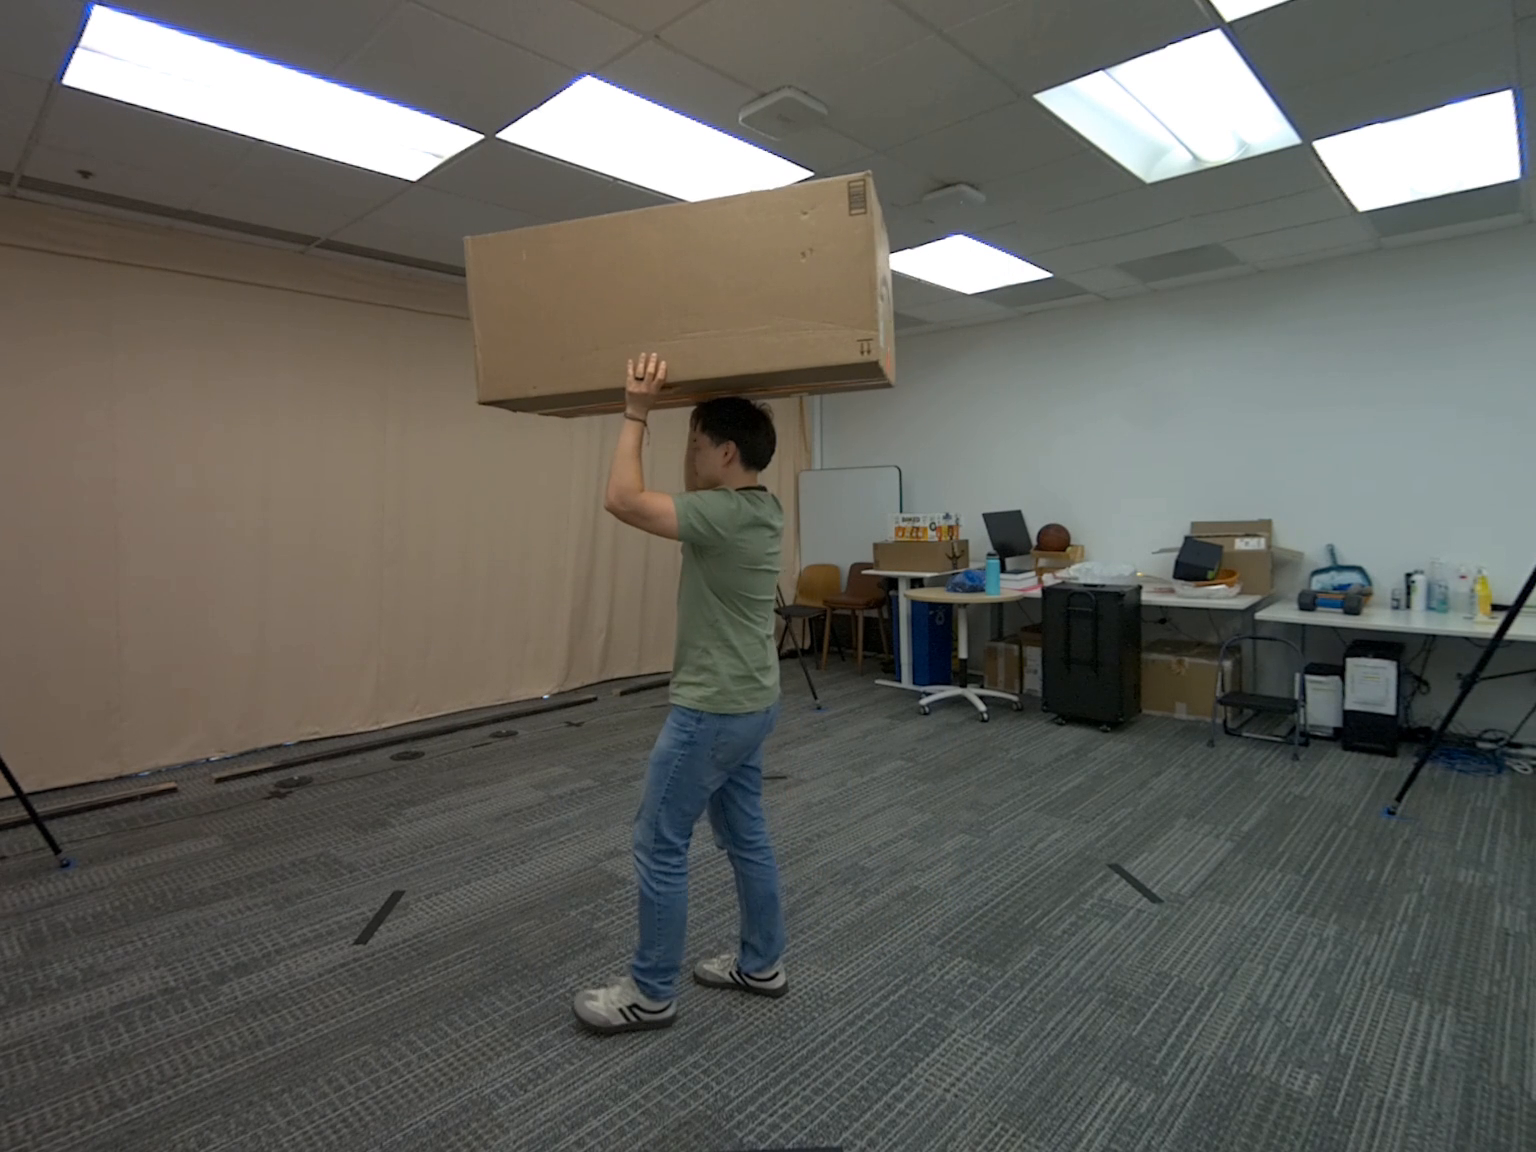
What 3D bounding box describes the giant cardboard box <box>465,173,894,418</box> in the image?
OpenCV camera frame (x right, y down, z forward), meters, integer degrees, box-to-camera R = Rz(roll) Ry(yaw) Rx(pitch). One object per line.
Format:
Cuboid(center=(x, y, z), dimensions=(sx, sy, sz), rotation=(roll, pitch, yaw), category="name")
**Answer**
Cuboid(center=(-0.196, -0.700, 2.275), dimensions=(1.043, 0.425, 0.570), rotation=(-3, 6, 16), category="giant cardboard box")
